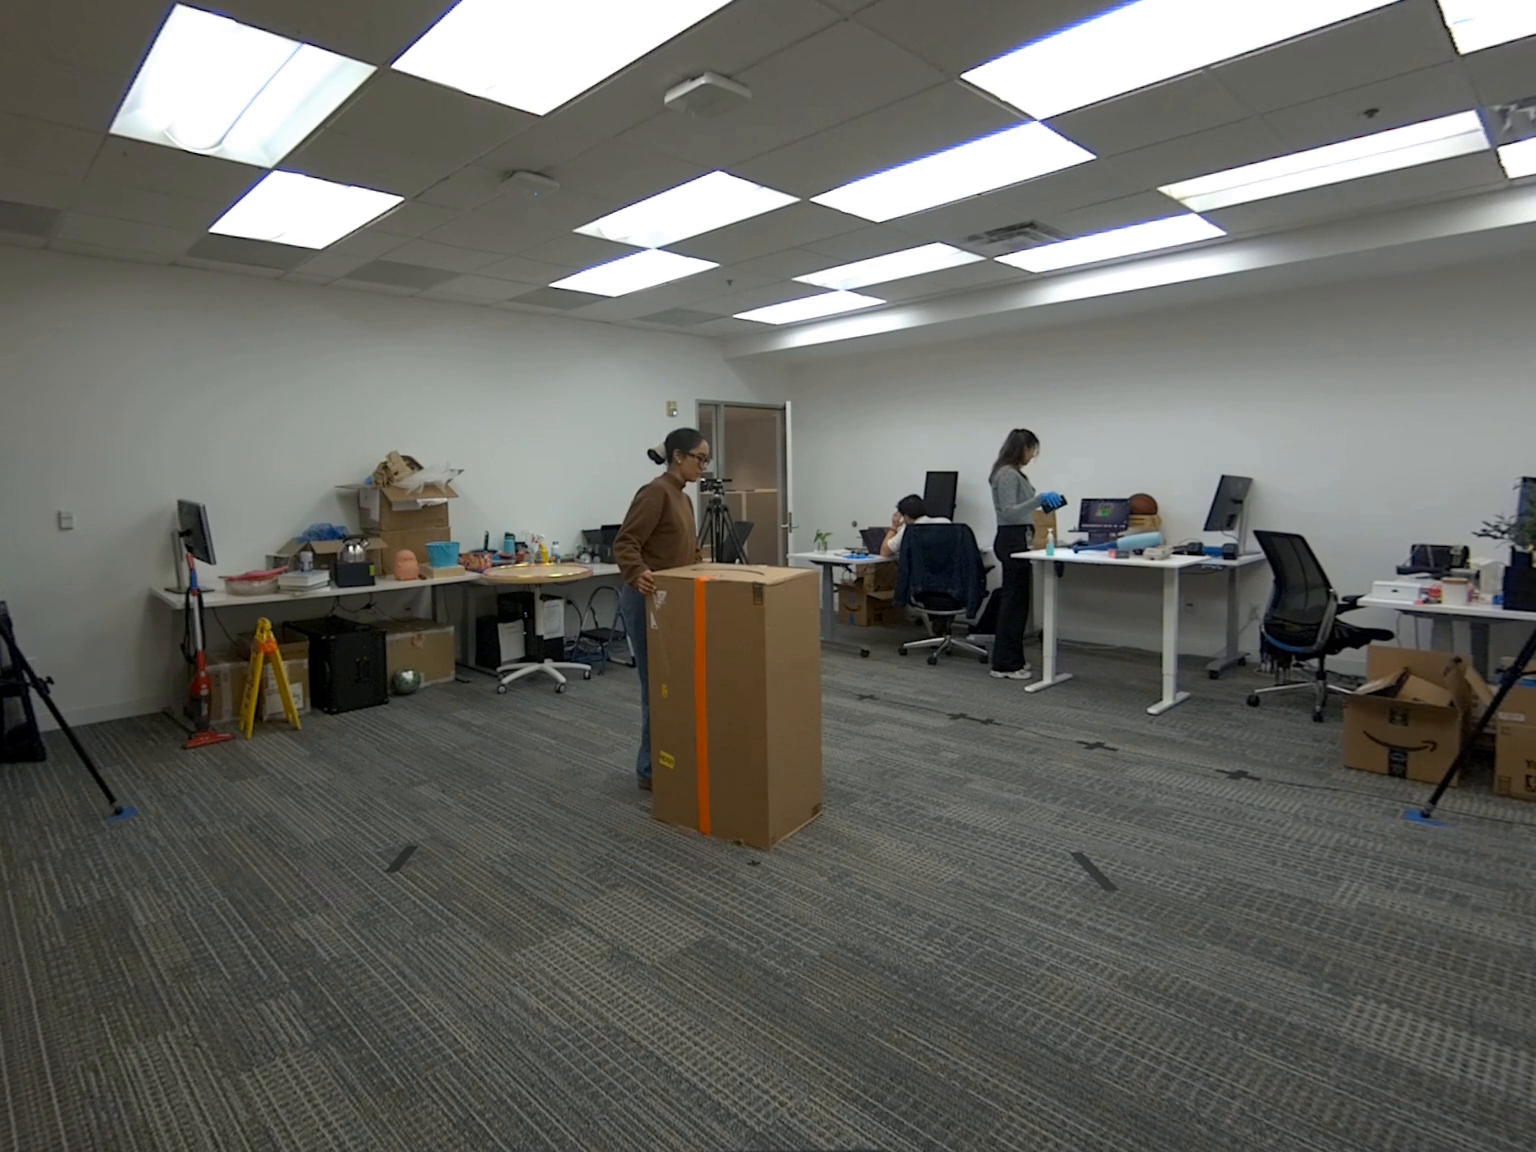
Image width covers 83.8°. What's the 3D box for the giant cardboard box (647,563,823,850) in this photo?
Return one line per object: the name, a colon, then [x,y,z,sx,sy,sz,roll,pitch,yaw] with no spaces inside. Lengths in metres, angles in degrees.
giant cardboard box: [-0.130,0.491,3.491,0.594,1.021,0.416,3,7,36]
